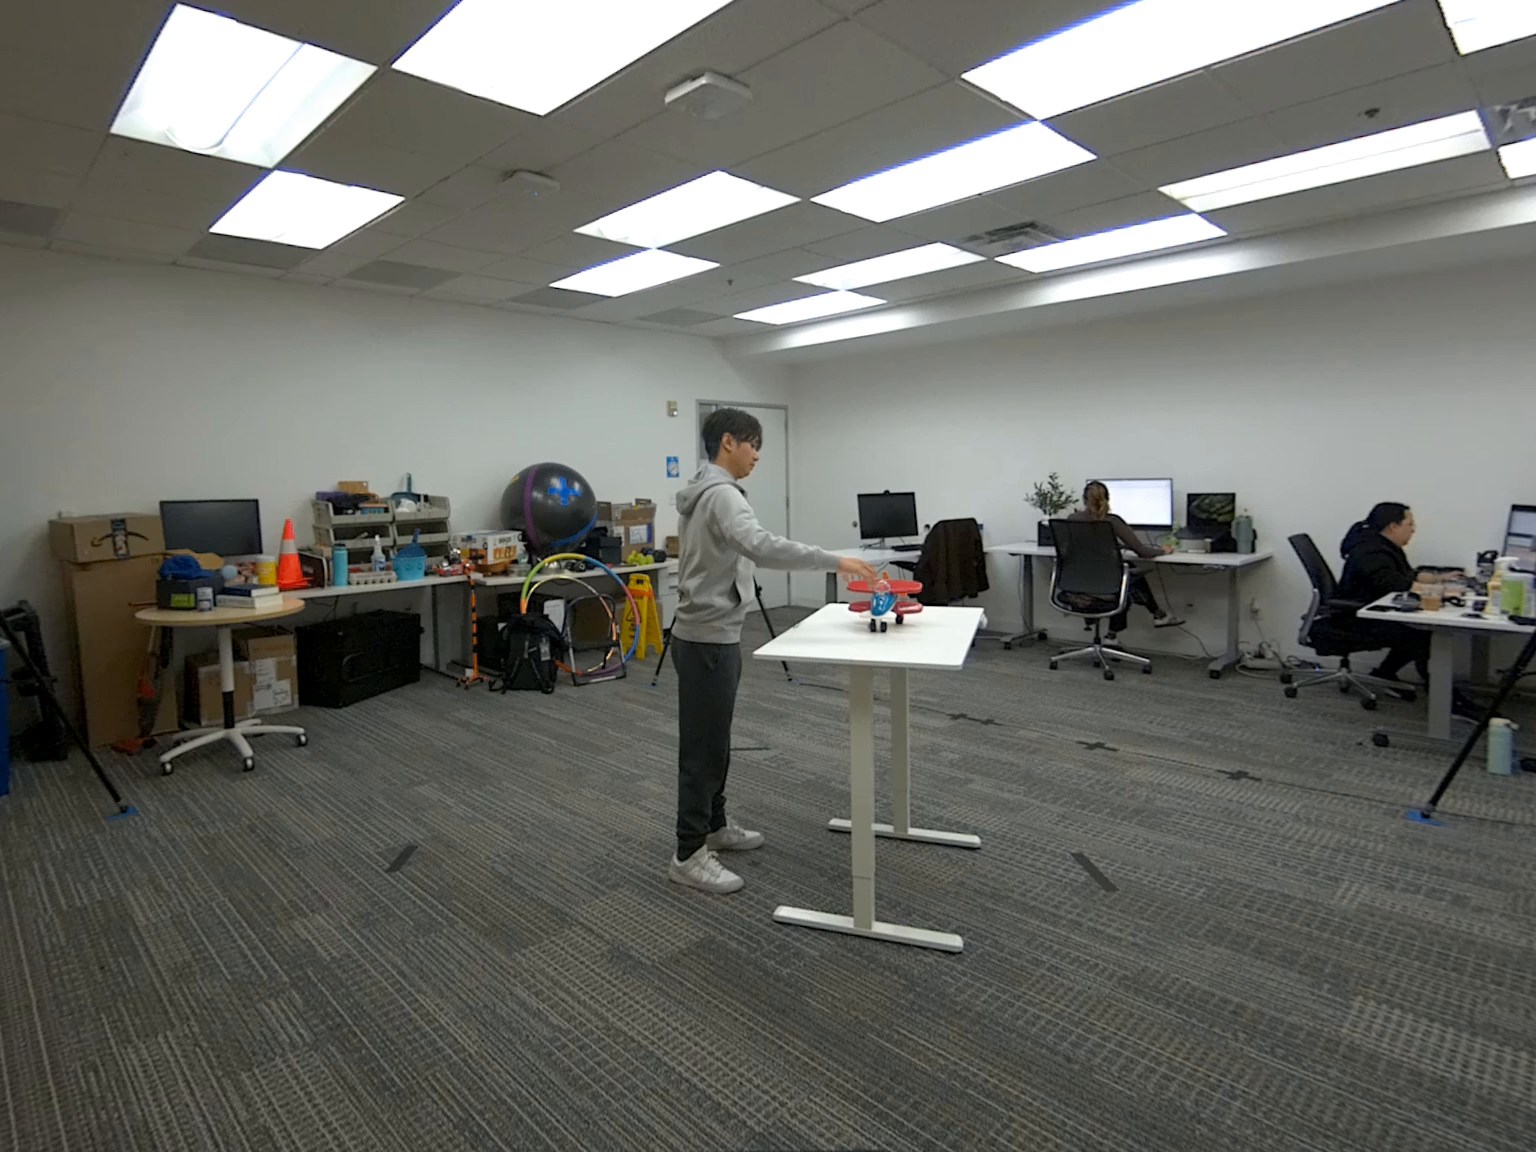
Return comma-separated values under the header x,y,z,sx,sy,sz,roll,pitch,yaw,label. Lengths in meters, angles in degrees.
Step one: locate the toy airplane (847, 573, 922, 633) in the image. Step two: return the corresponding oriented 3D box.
x,y,z,sx,sy,sz,roll,pitch,yaw,label
0.415,0.100,2.911,0.249,0.156,0.263,-2,6,-10,toy airplane
